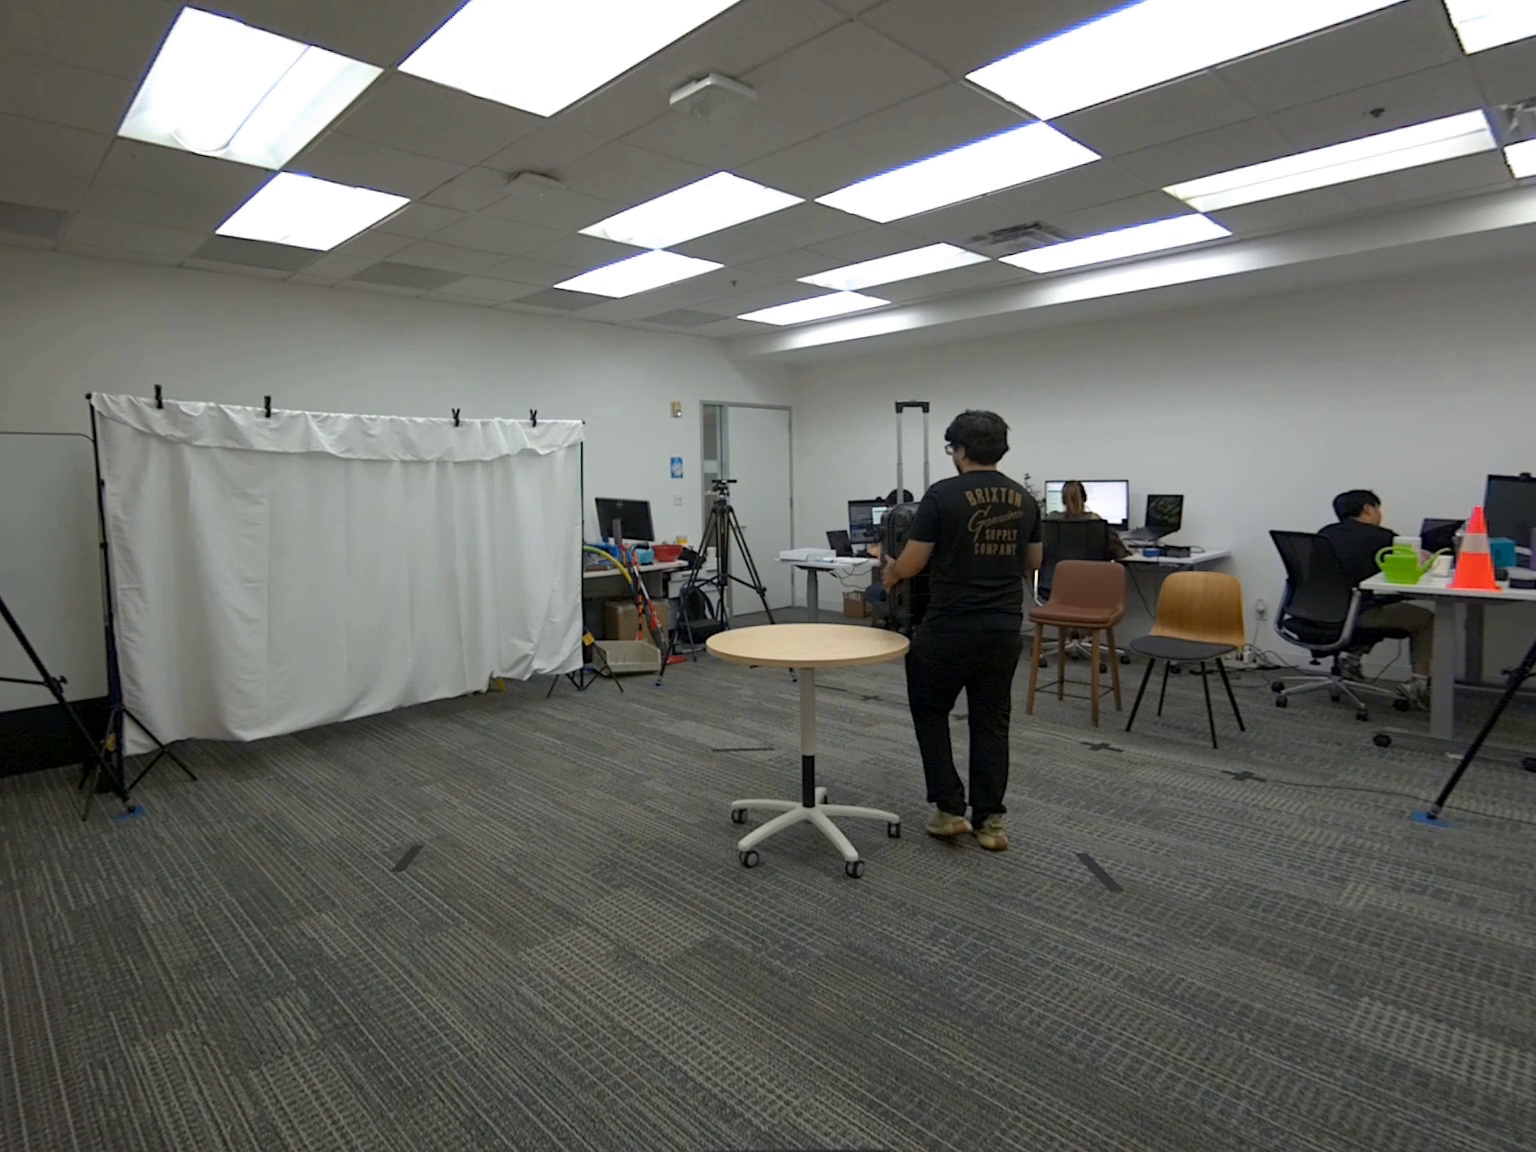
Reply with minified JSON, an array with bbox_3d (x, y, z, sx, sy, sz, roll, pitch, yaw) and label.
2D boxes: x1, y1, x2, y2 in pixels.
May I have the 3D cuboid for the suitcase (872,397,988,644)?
[{"bbox_3d":[0.675,-0.243,3.577,0.379,0.974,0.262,-3,5,-15],"label":"suitcase"}]
